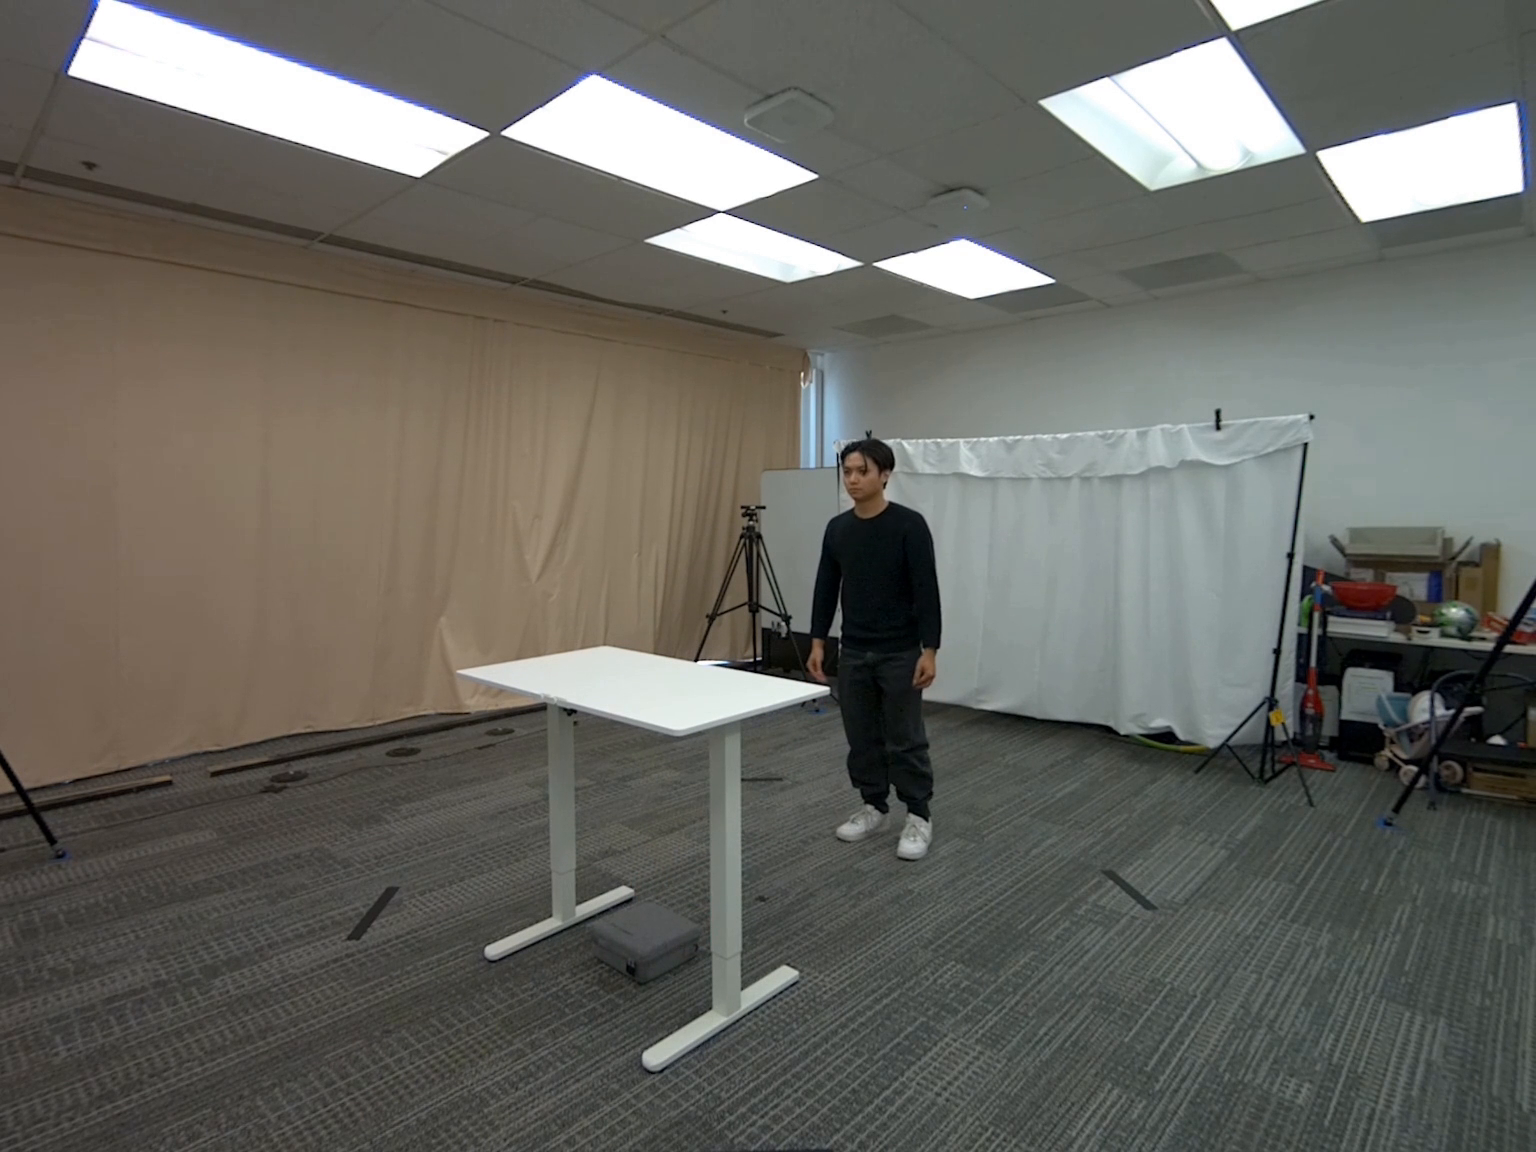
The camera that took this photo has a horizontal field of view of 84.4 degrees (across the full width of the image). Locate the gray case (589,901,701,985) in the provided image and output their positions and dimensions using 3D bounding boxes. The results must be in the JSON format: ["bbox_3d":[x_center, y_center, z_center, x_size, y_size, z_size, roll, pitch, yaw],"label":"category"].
[{"bbox_3d":[-0.379,1.117,2.601,0.269,0.104,0.249,3,5,42],"label":"gray case"}]
